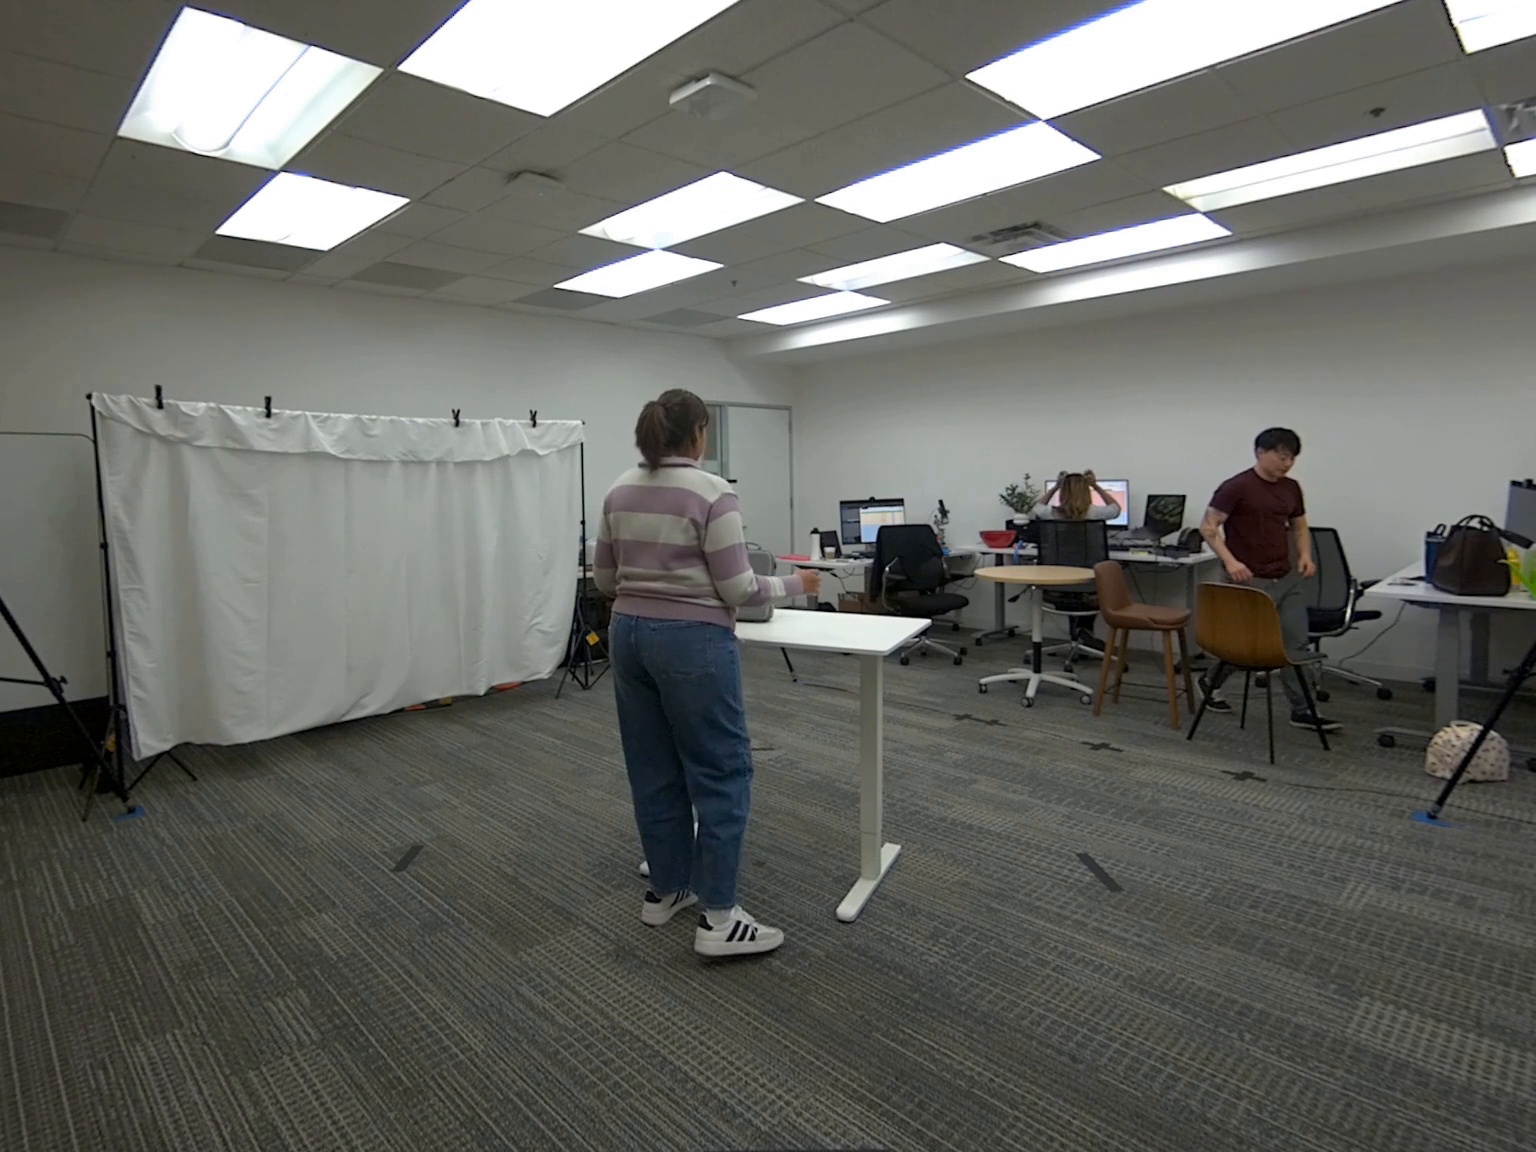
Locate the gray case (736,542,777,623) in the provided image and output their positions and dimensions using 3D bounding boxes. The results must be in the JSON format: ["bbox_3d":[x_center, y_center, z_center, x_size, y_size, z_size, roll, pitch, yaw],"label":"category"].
[{"bbox_3d":[-0.101,0.032,3.128,0.261,0.262,0.102,2,-7,18],"label":"gray case"}]
